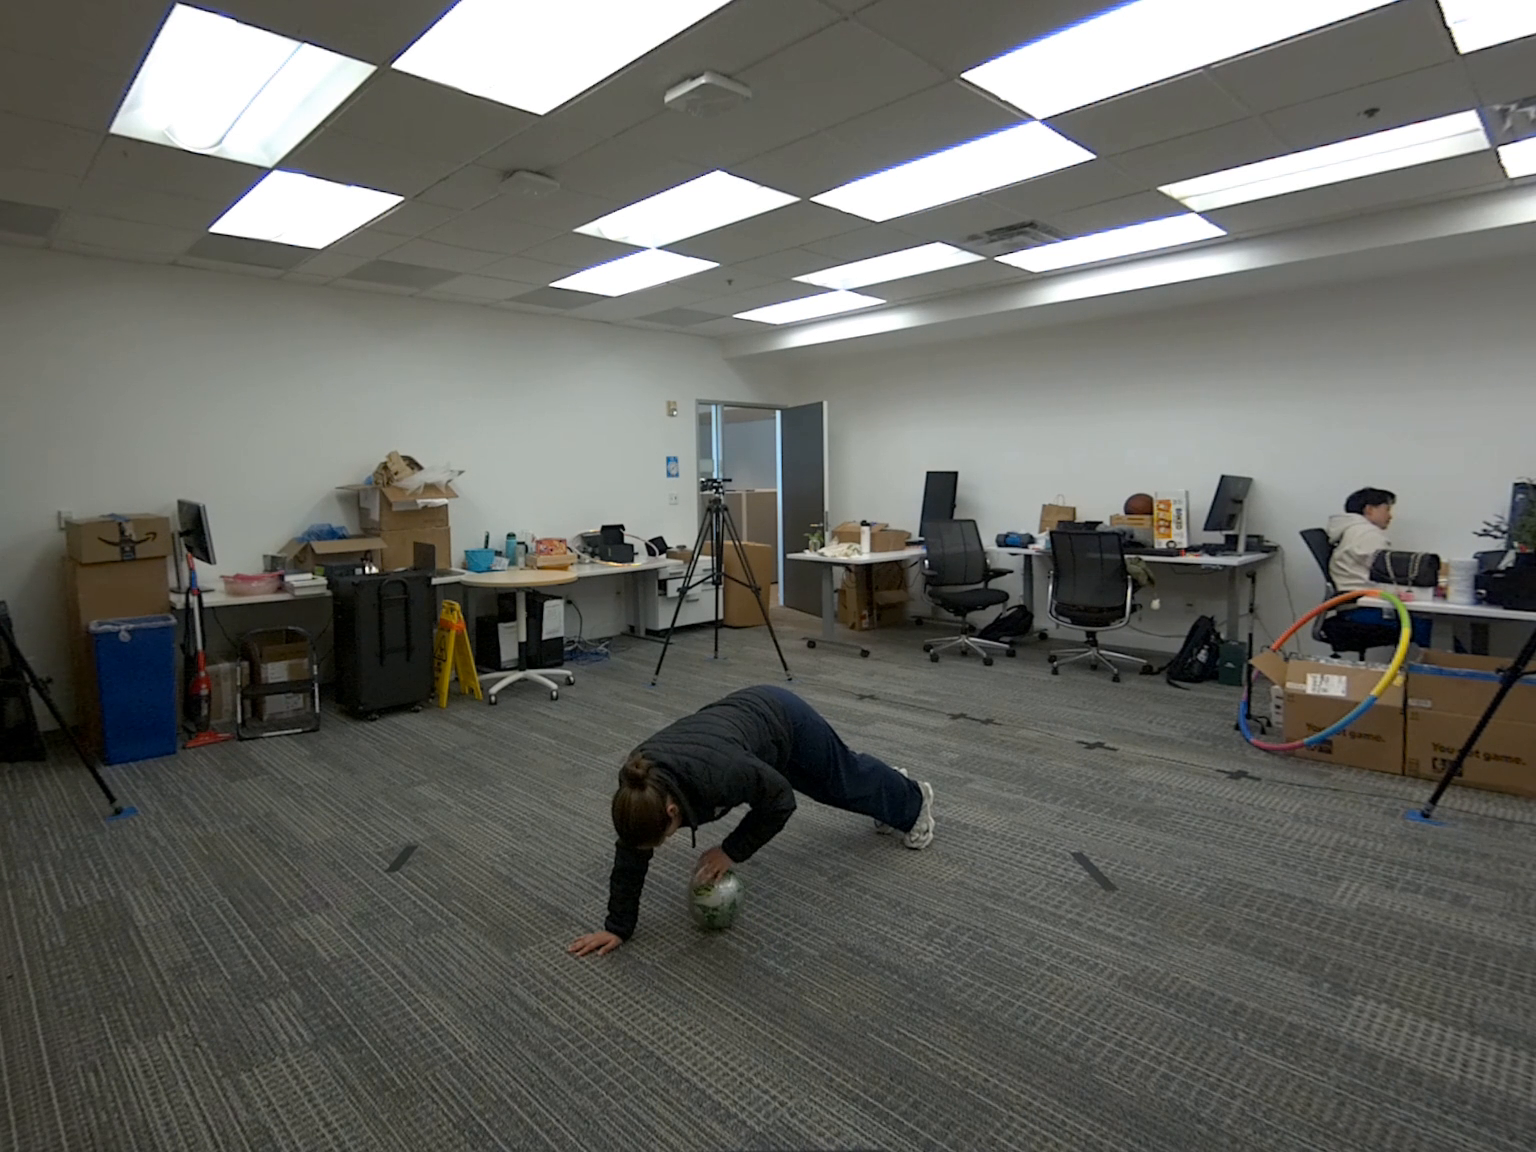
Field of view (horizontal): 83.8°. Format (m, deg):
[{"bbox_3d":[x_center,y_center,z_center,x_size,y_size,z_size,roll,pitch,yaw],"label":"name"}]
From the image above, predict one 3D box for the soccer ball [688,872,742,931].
[{"bbox_3d":[-0.160,1.002,2.679,0.187,0.187,0.188,-1,5,-2],"label":"soccer ball"}]
